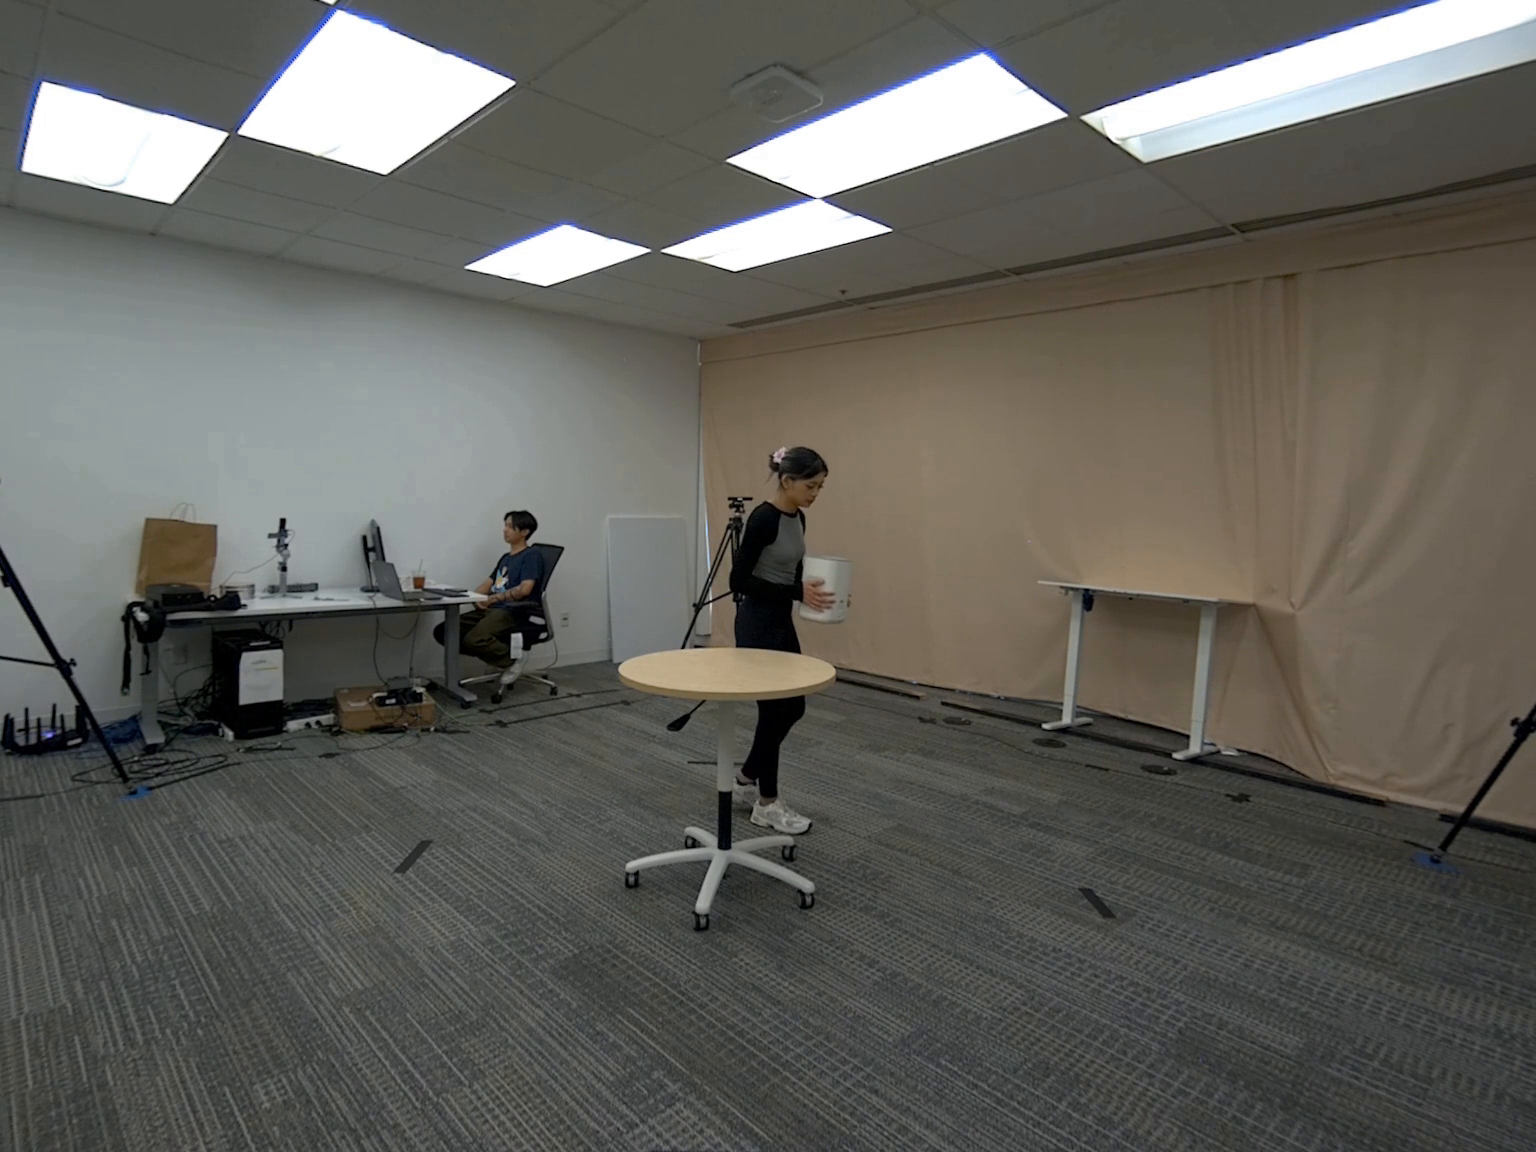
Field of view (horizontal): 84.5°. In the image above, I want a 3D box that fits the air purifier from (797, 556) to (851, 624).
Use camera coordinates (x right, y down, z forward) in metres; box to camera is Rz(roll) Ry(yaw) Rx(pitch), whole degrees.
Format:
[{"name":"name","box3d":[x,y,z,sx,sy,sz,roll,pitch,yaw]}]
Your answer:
[{"name":"air purifier","box3d":[0.227,0.058,3.473,0.176,0.265,0.167,9,5,35]}]
